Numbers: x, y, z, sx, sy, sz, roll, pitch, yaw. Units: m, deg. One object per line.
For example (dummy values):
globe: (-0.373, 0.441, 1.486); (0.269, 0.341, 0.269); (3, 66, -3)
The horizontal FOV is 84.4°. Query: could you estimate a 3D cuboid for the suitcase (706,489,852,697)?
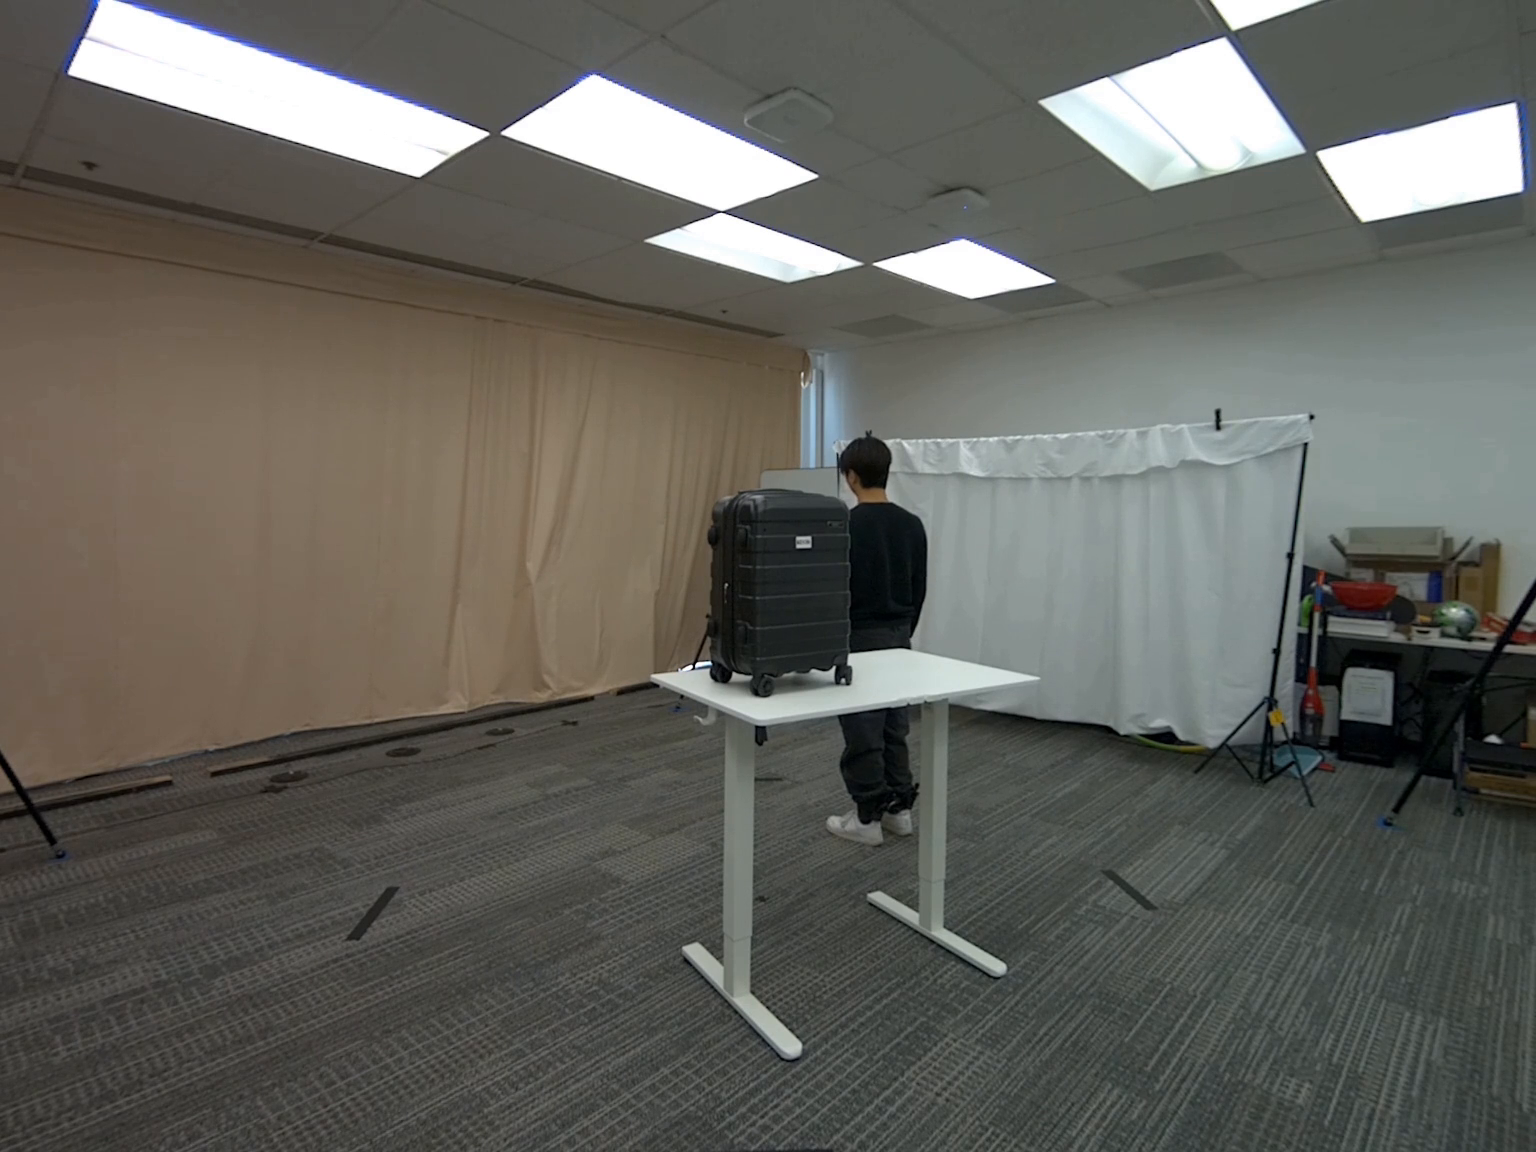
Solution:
suitcase: (0.039, 0.032, 2.380); (0.365, 0.548, 0.256); (-1, 4, -33)
